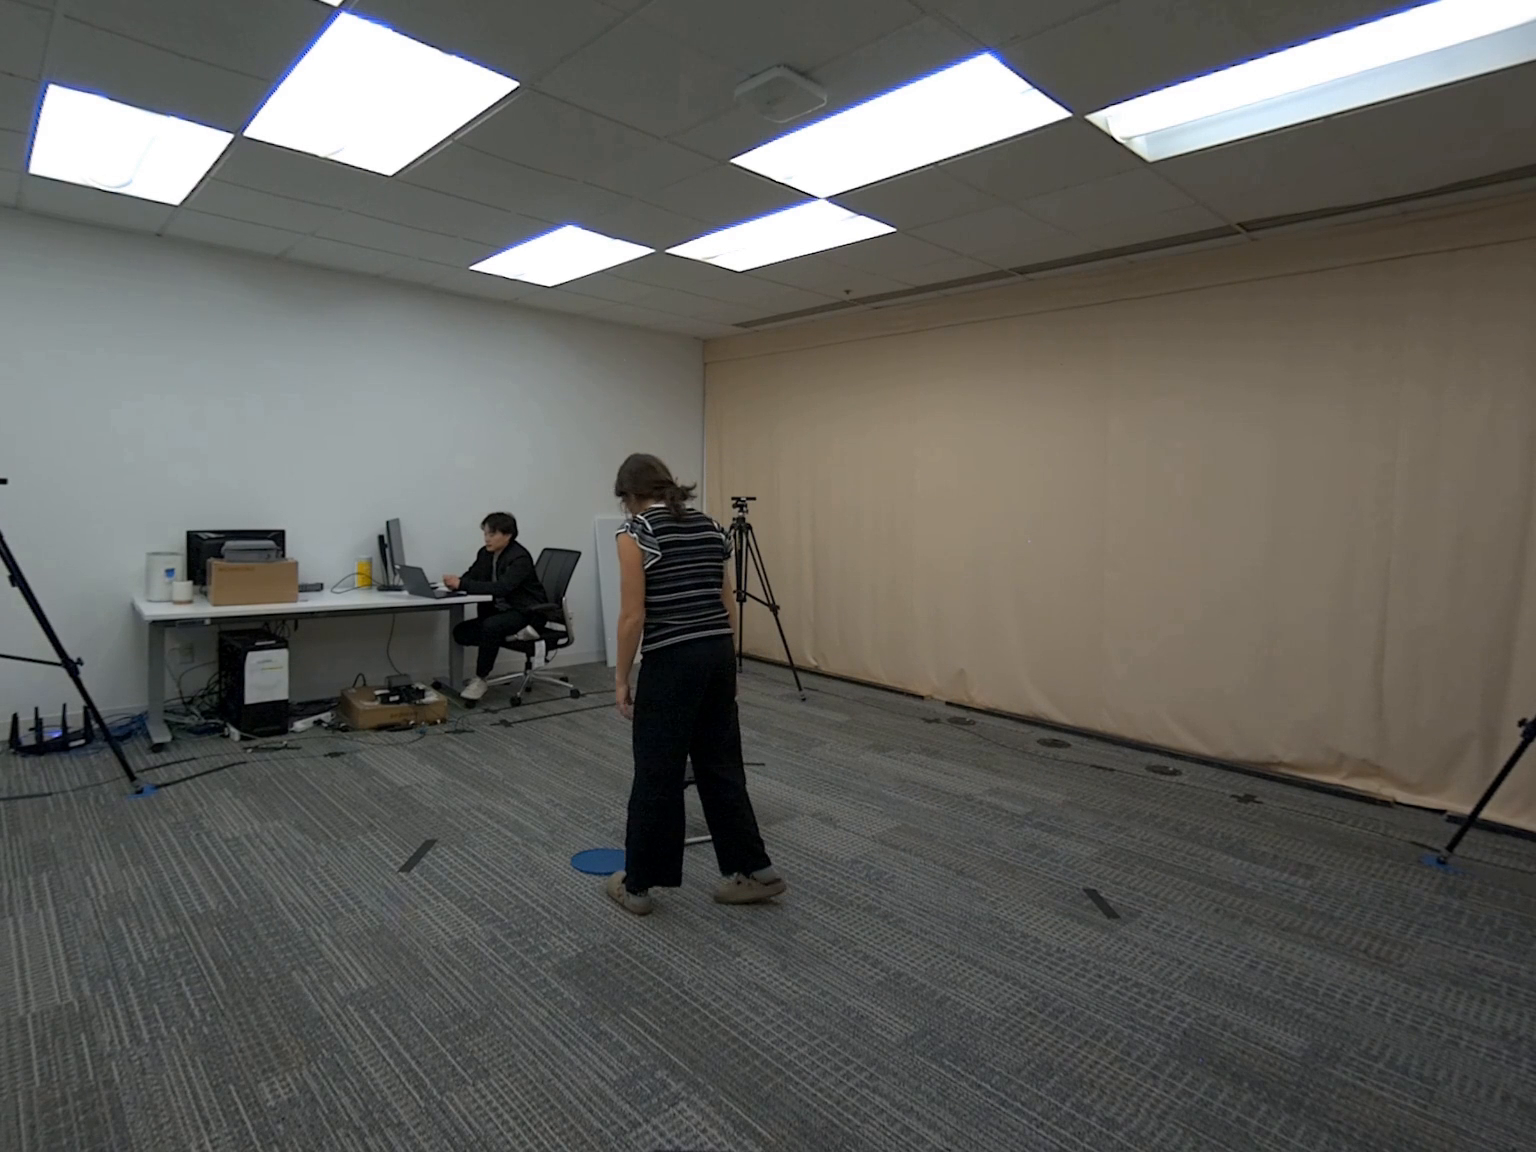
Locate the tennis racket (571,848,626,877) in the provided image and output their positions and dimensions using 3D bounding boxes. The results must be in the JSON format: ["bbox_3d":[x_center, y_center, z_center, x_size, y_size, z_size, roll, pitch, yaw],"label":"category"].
[{"bbox_3d":[-0.539,1.074,3.162,0.439,0.031,0.211,1,6,18],"label":"tennis racket"}]
